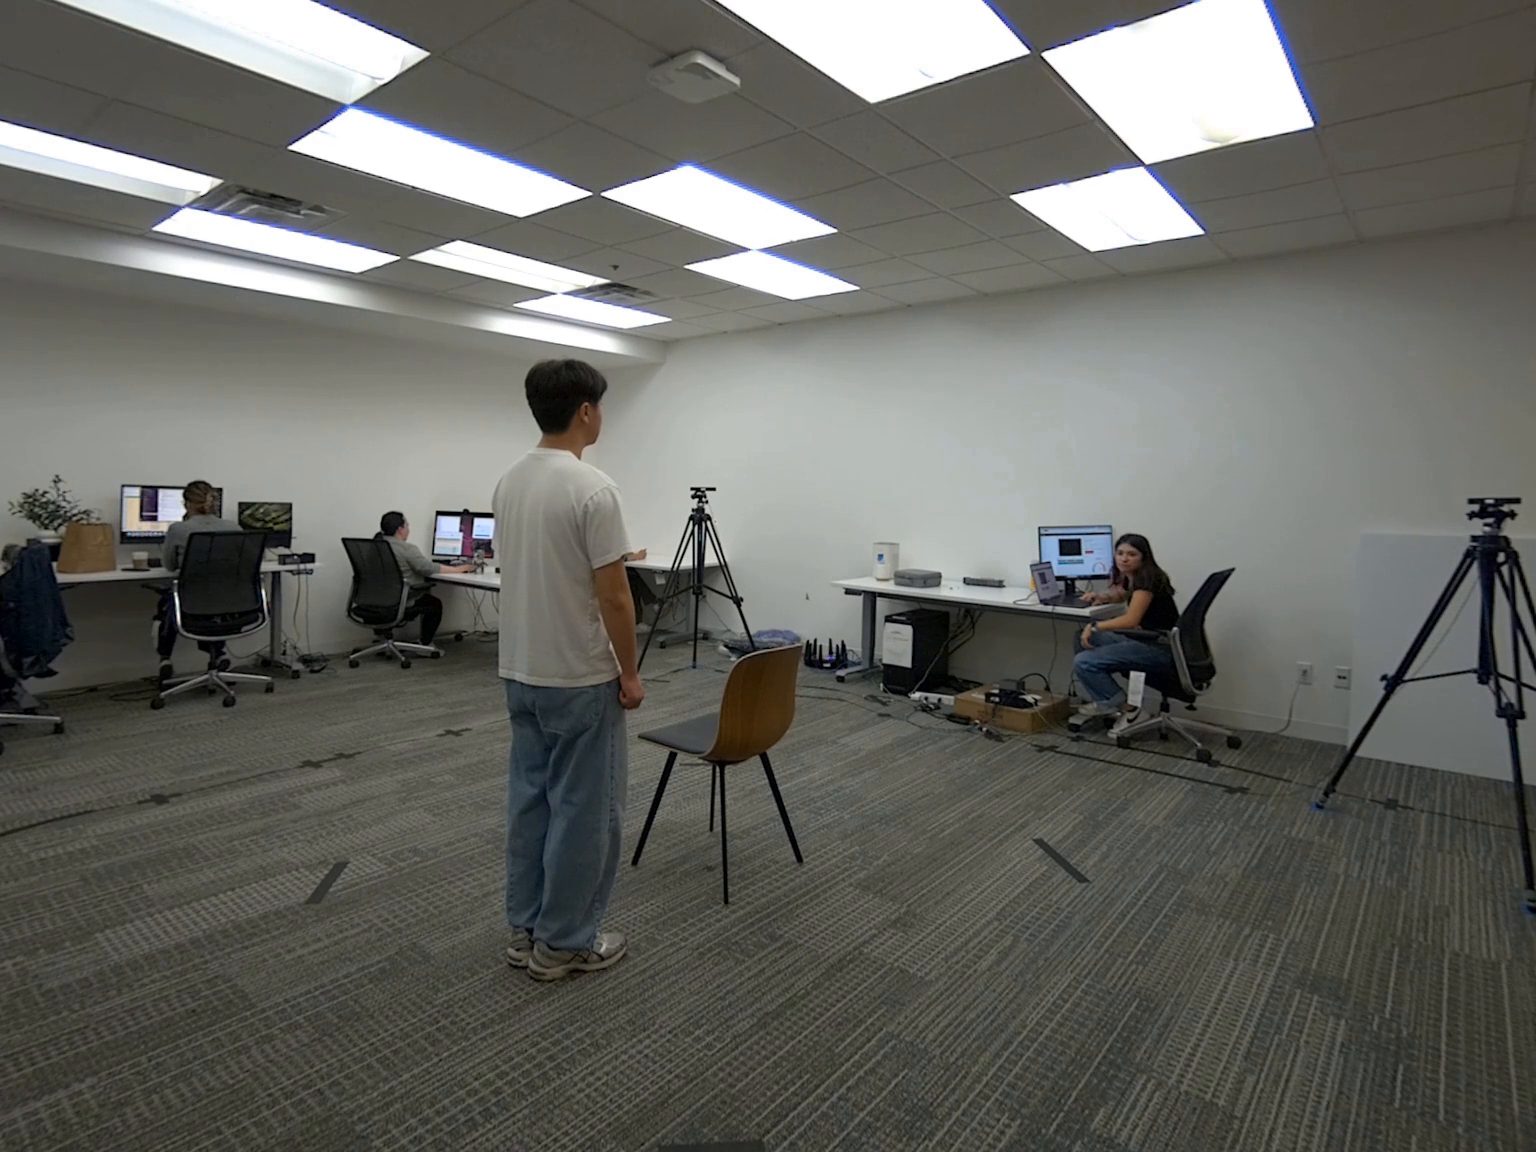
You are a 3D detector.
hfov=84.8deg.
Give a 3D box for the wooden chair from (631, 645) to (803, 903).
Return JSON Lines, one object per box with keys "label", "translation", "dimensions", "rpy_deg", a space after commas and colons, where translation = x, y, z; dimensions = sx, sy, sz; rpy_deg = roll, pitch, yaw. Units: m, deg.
{"label": "wooden chair", "translation": [-0.191, 0.638, 3.128], "dimensions": [0.542, 0.873, 0.464], "rpy_deg": [9, 7, 38]}
